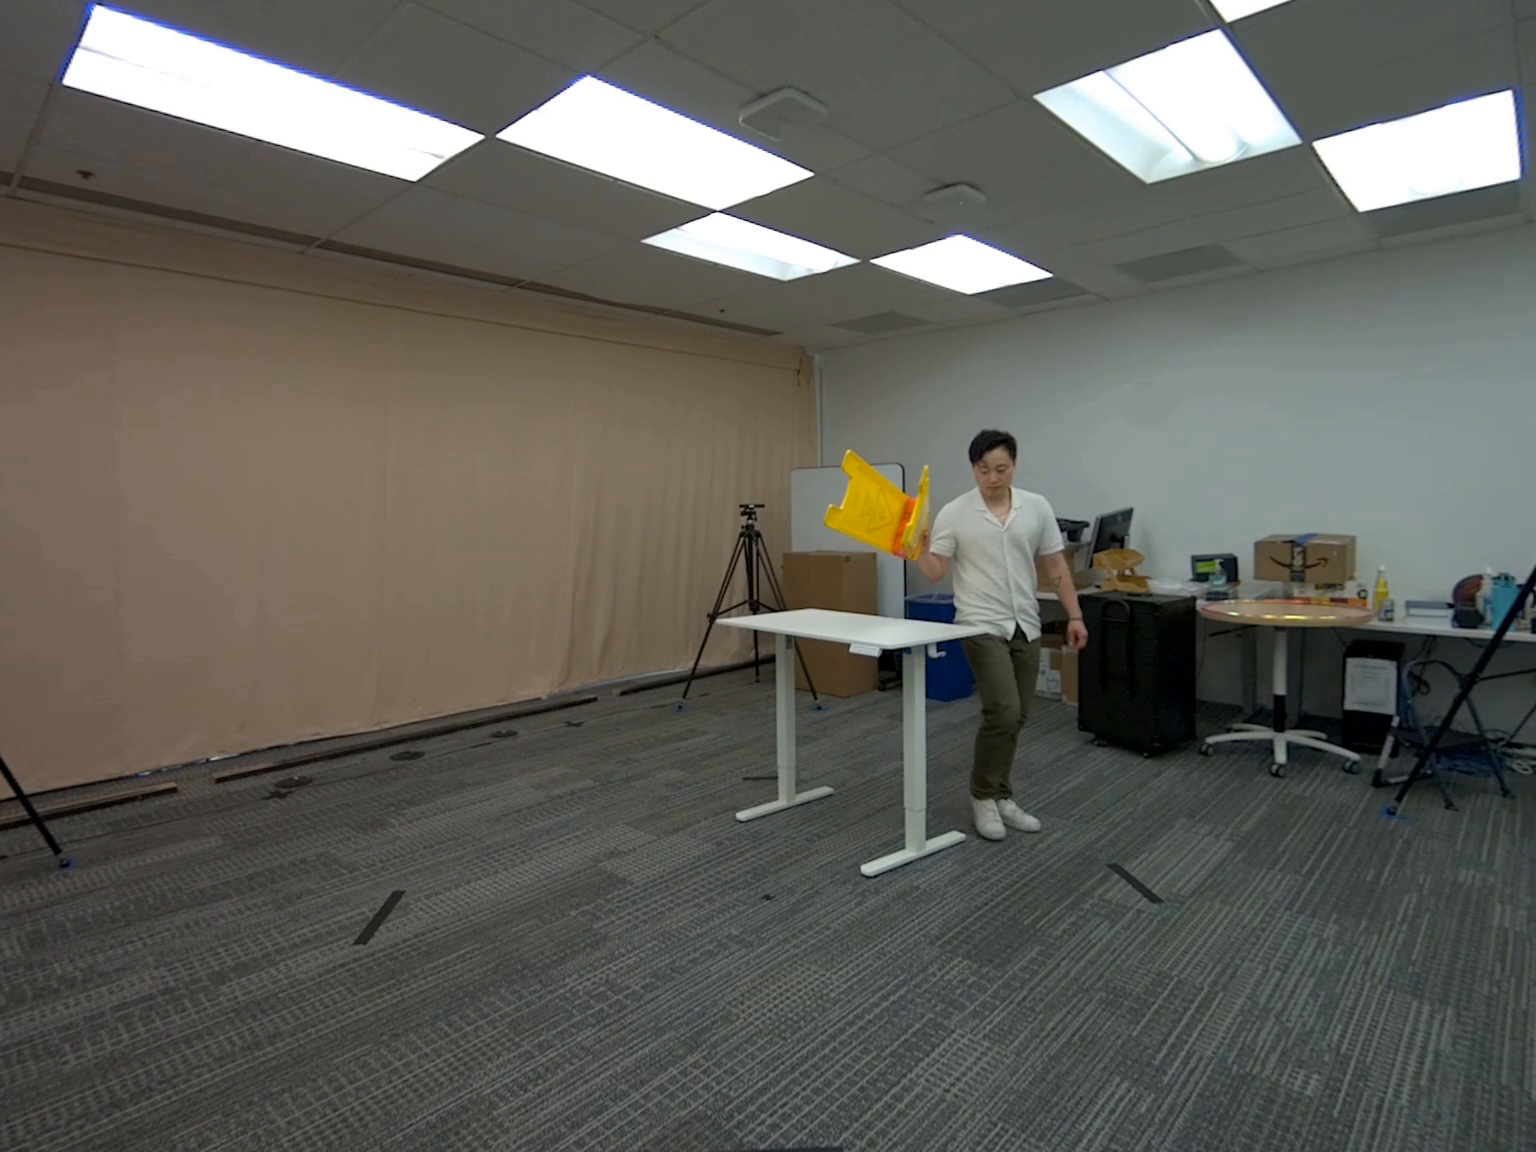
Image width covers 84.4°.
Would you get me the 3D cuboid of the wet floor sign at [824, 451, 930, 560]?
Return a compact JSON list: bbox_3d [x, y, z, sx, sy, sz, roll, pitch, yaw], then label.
[{"bbox_3d":[0.491,-0.210,3.146,0.298,0.282,0.626,17,-4,27],"label":"wet floor sign"}]
